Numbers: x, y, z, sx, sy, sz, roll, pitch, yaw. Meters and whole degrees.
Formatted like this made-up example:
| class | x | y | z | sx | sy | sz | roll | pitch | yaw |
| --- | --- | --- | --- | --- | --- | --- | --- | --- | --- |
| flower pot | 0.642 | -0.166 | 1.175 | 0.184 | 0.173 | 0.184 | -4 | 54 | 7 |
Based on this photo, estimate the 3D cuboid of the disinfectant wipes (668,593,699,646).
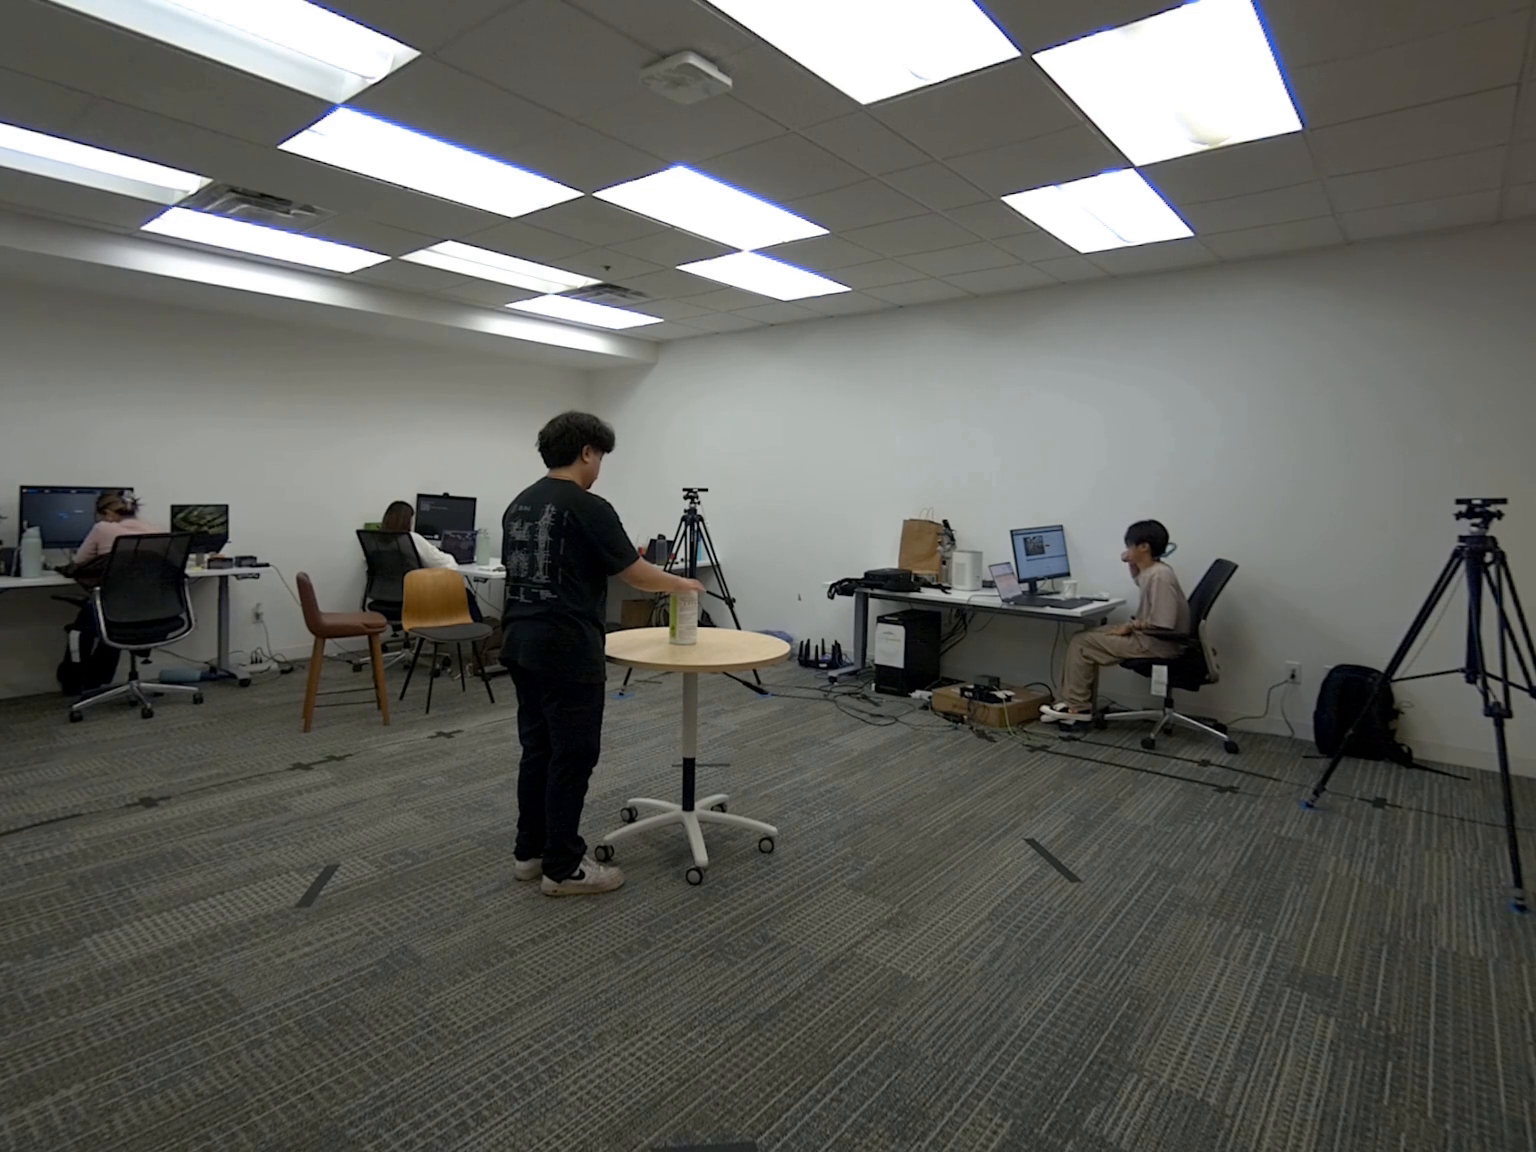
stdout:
| class | x | y | z | sx | sy | sz | roll | pitch | yaw |
| --- | --- | --- | --- | --- | --- | --- | --- | --- | --- |
| disinfectant wipes | -0.340 | 0.153 | 3.296 | 0.118 | 0.217 | 0.118 | 0 | 2 | -2 |
